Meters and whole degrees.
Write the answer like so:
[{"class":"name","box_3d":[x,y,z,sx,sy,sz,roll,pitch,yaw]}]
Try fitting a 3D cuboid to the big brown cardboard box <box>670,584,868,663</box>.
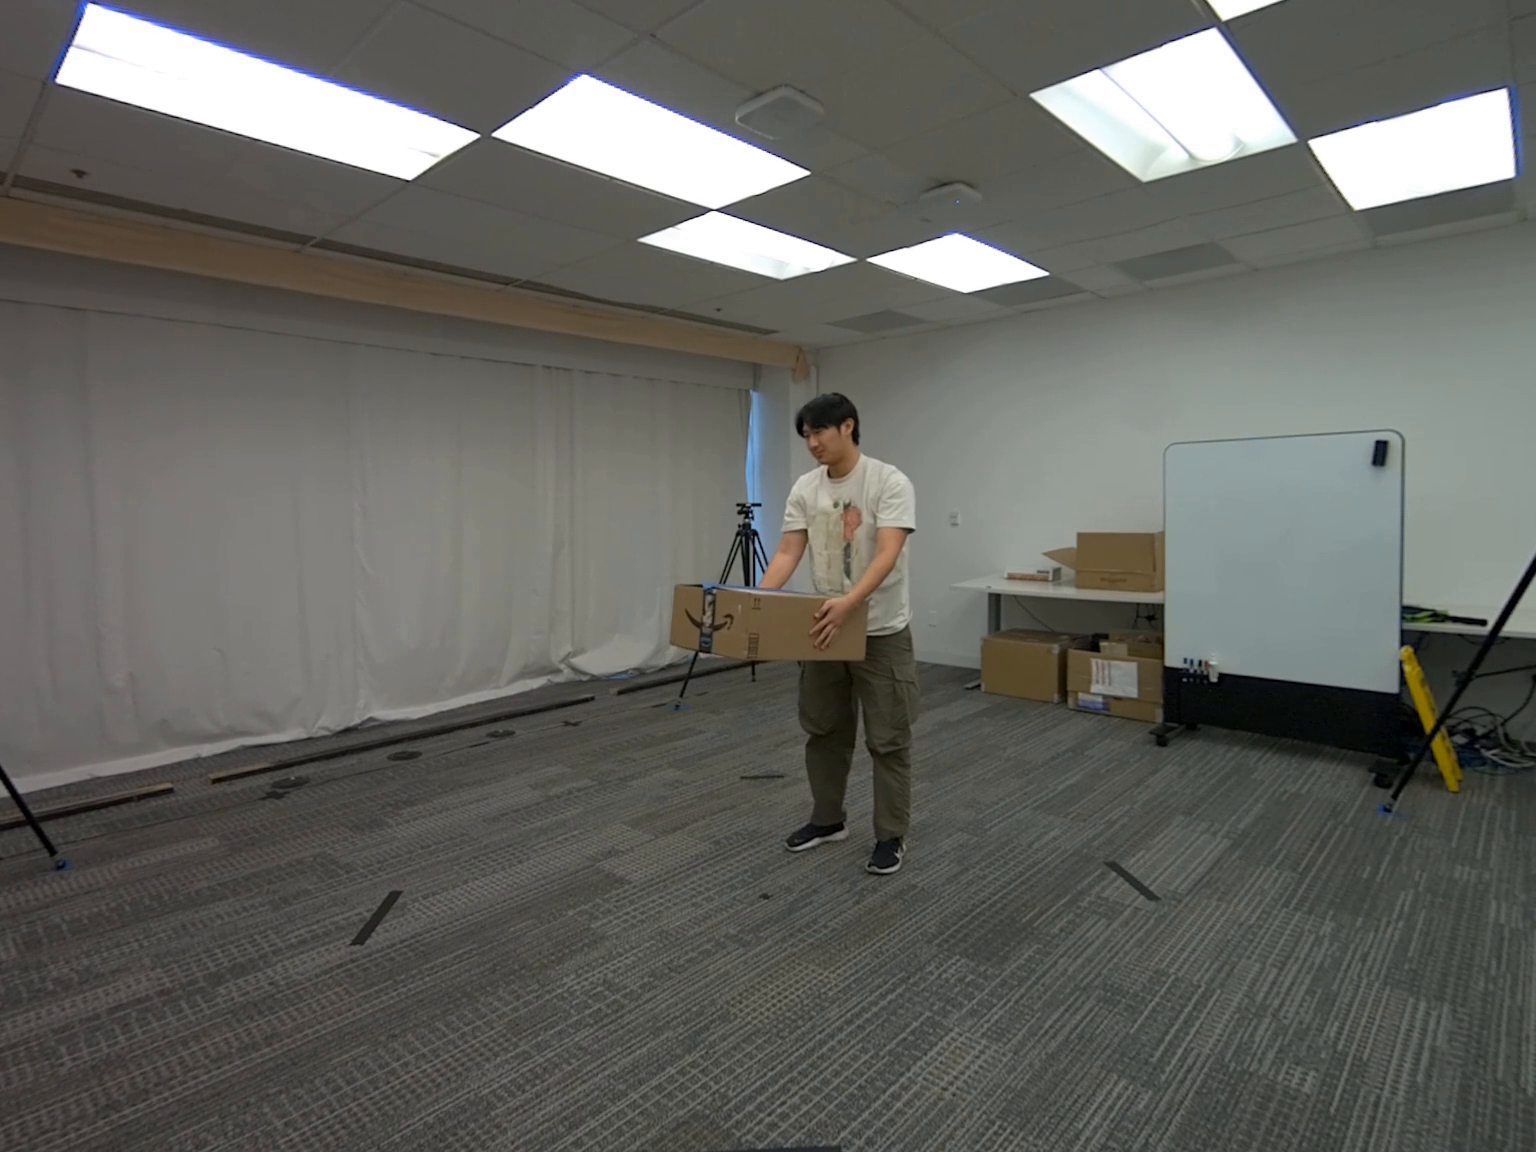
[{"class":"big brown cardboard box","box_3d":[0.002,0.171,2.965,0.569,0.233,0.431,6,-1,-40]}]
